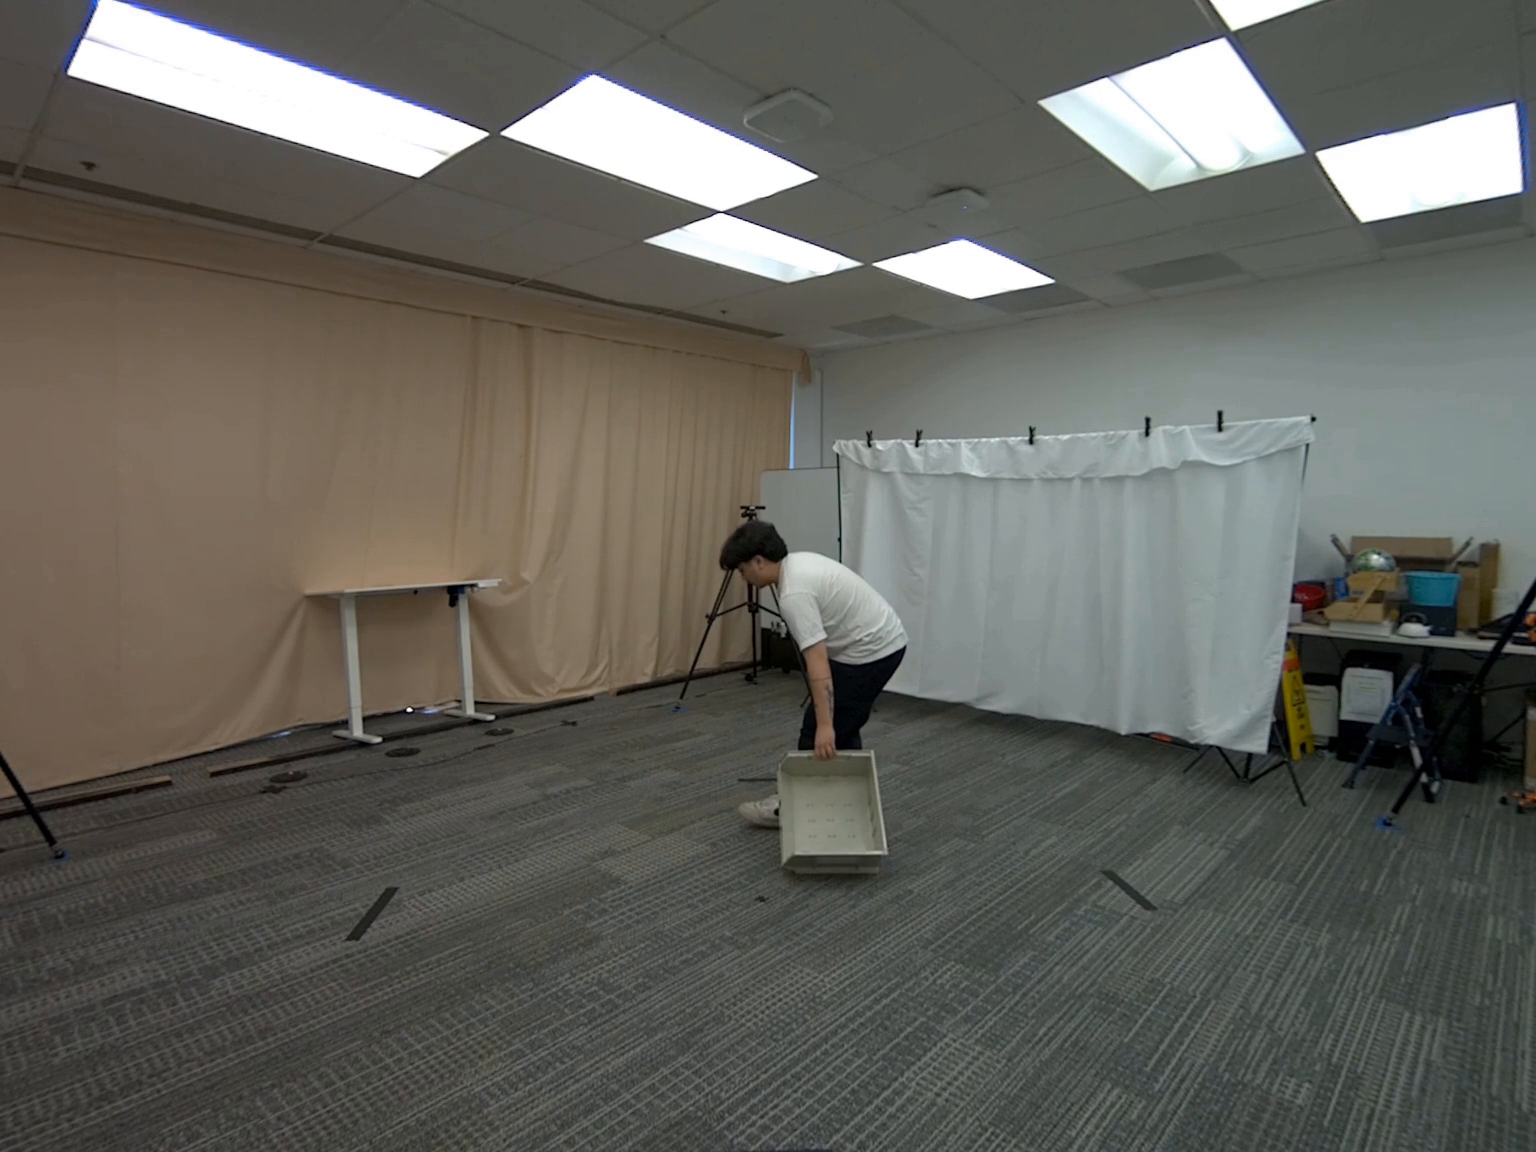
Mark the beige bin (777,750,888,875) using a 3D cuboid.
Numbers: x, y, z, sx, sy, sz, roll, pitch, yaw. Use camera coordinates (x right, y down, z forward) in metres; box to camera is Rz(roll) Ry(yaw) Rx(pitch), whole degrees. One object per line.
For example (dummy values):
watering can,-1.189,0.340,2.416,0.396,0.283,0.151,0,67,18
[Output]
beige bin,0.240,0.908,3.260,0.377,0.185,0.430,0,47,-2
